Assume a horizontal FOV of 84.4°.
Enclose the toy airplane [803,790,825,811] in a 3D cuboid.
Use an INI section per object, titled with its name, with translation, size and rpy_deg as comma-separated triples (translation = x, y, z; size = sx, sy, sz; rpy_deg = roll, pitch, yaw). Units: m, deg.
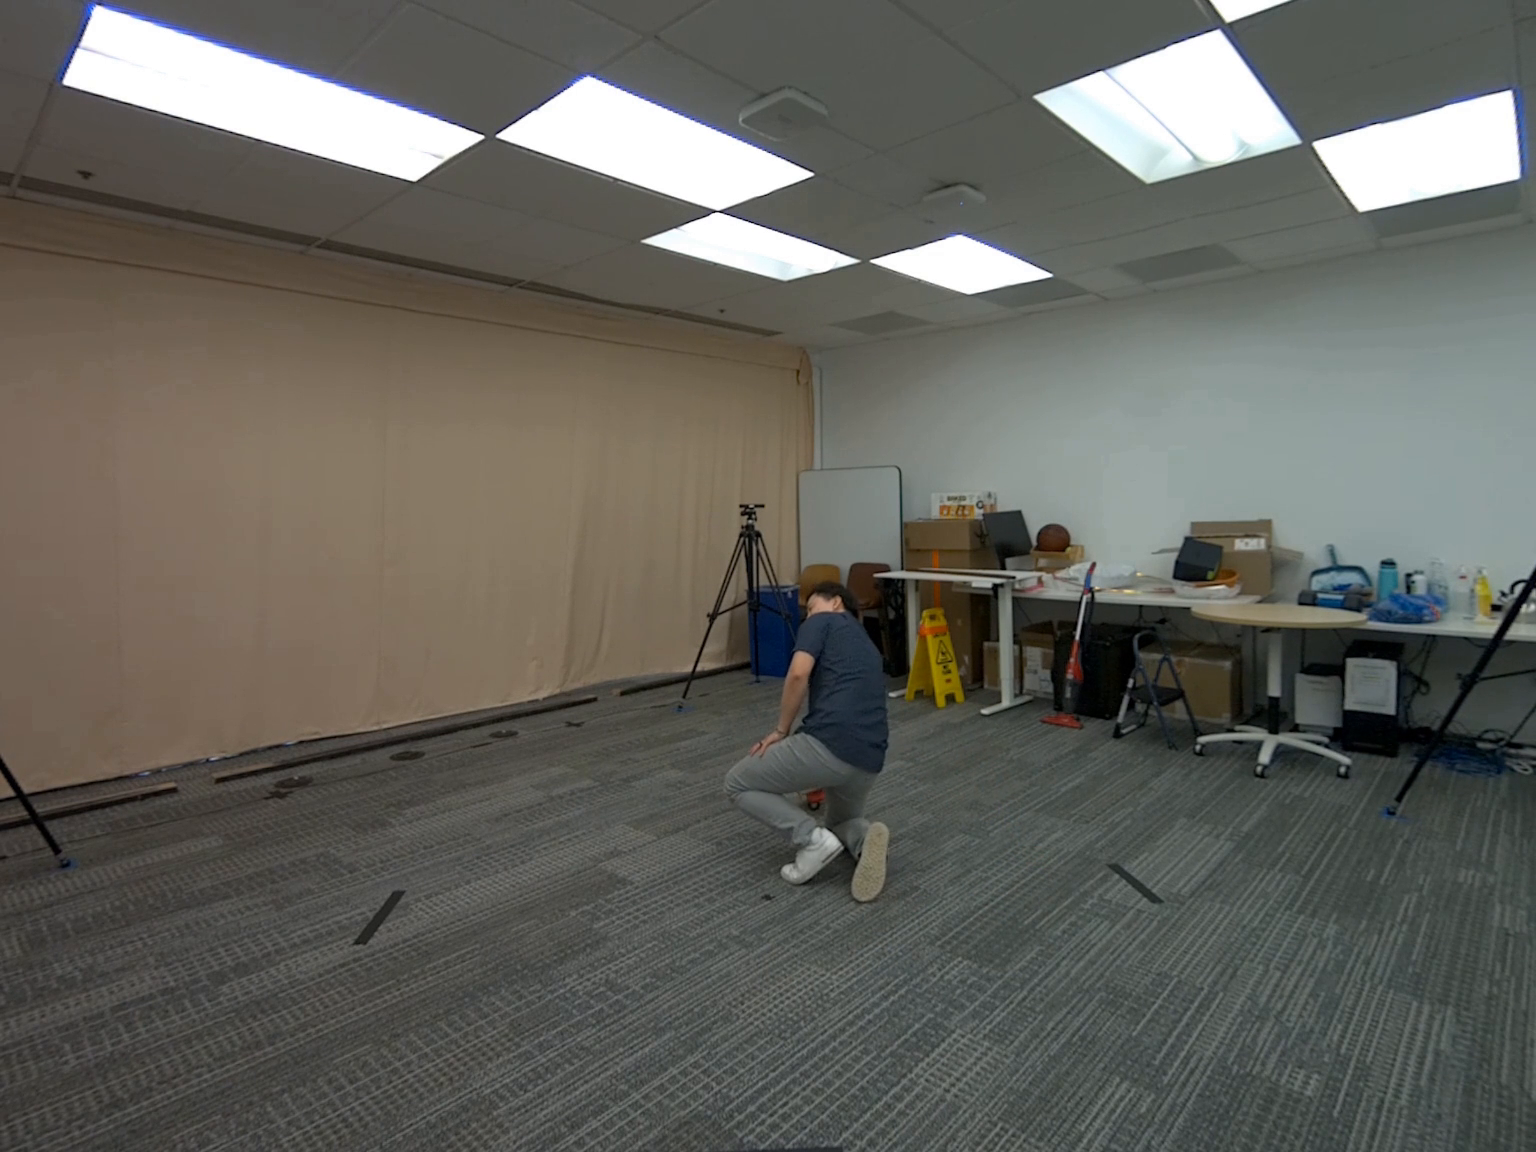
[toy airplane]
translation = 0.252, 0.951, 3.887
size = 0.256, 0.156, 0.254
rpy_deg = -35, 3, -25
